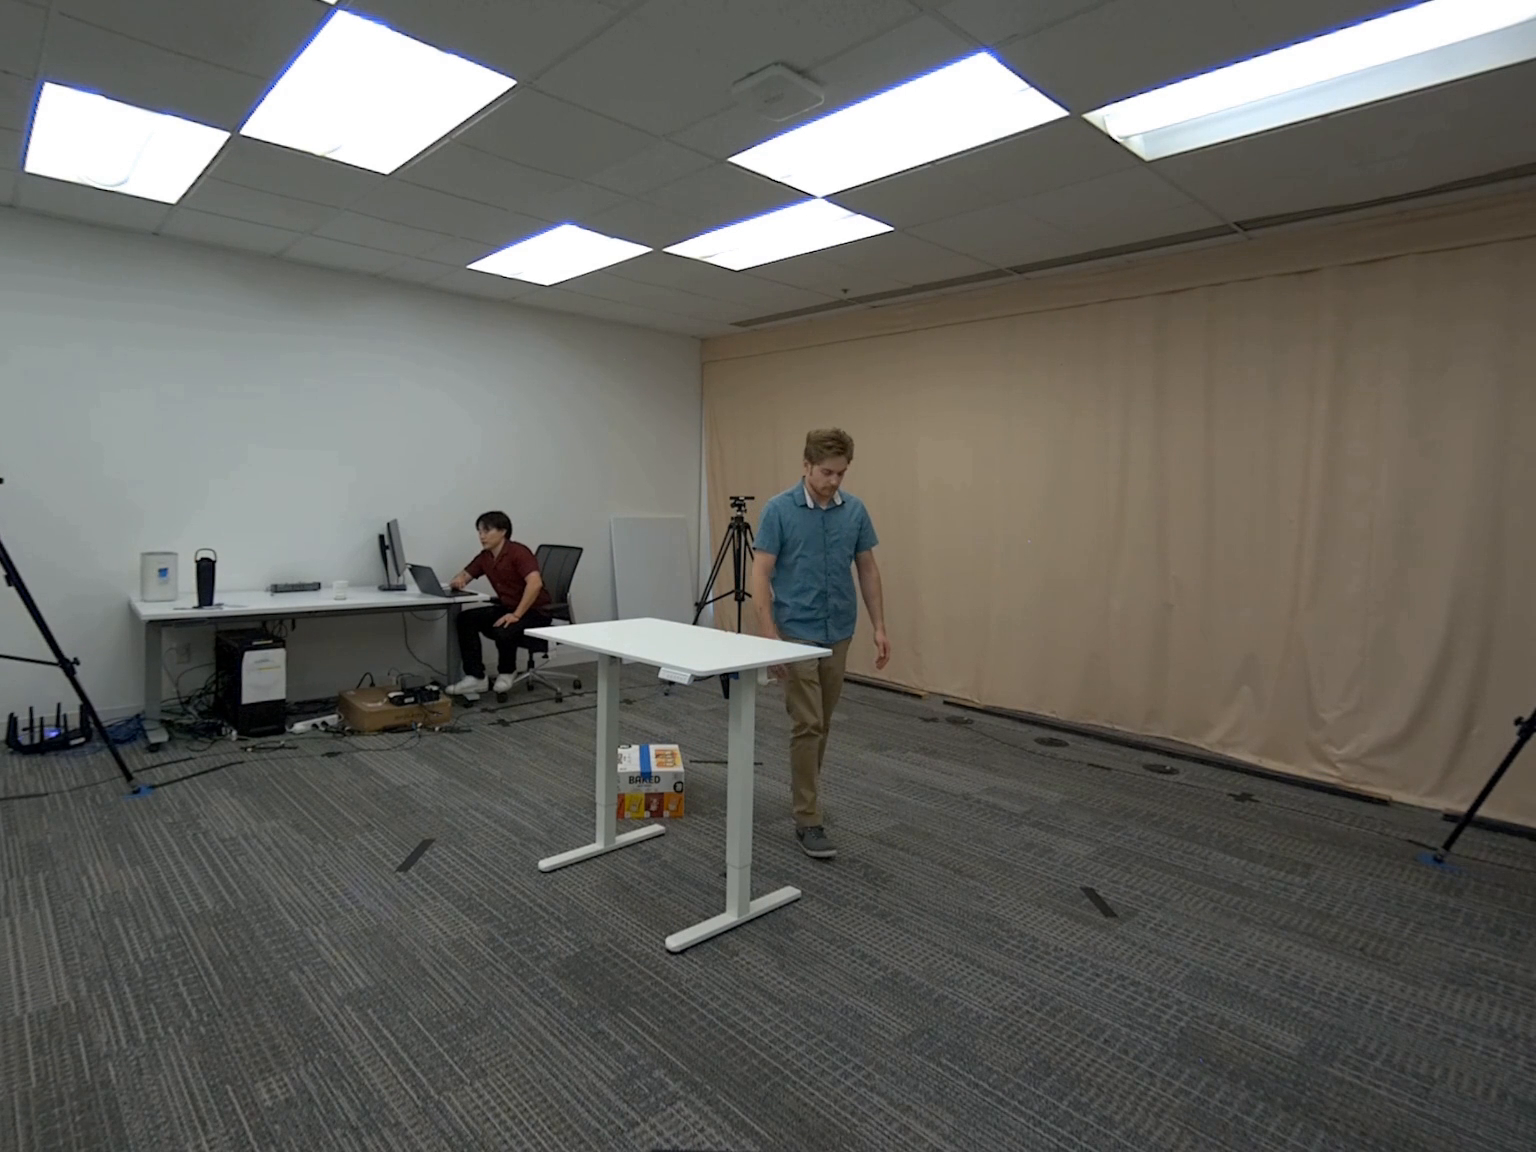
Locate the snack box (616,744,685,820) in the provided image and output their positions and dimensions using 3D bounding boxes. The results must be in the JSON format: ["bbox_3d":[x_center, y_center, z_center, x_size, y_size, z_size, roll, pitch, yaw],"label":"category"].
[{"bbox_3d":[-0.576,0.928,3.839,0.338,0.205,0.409,1,5,-8],"label":"snack box"}]
